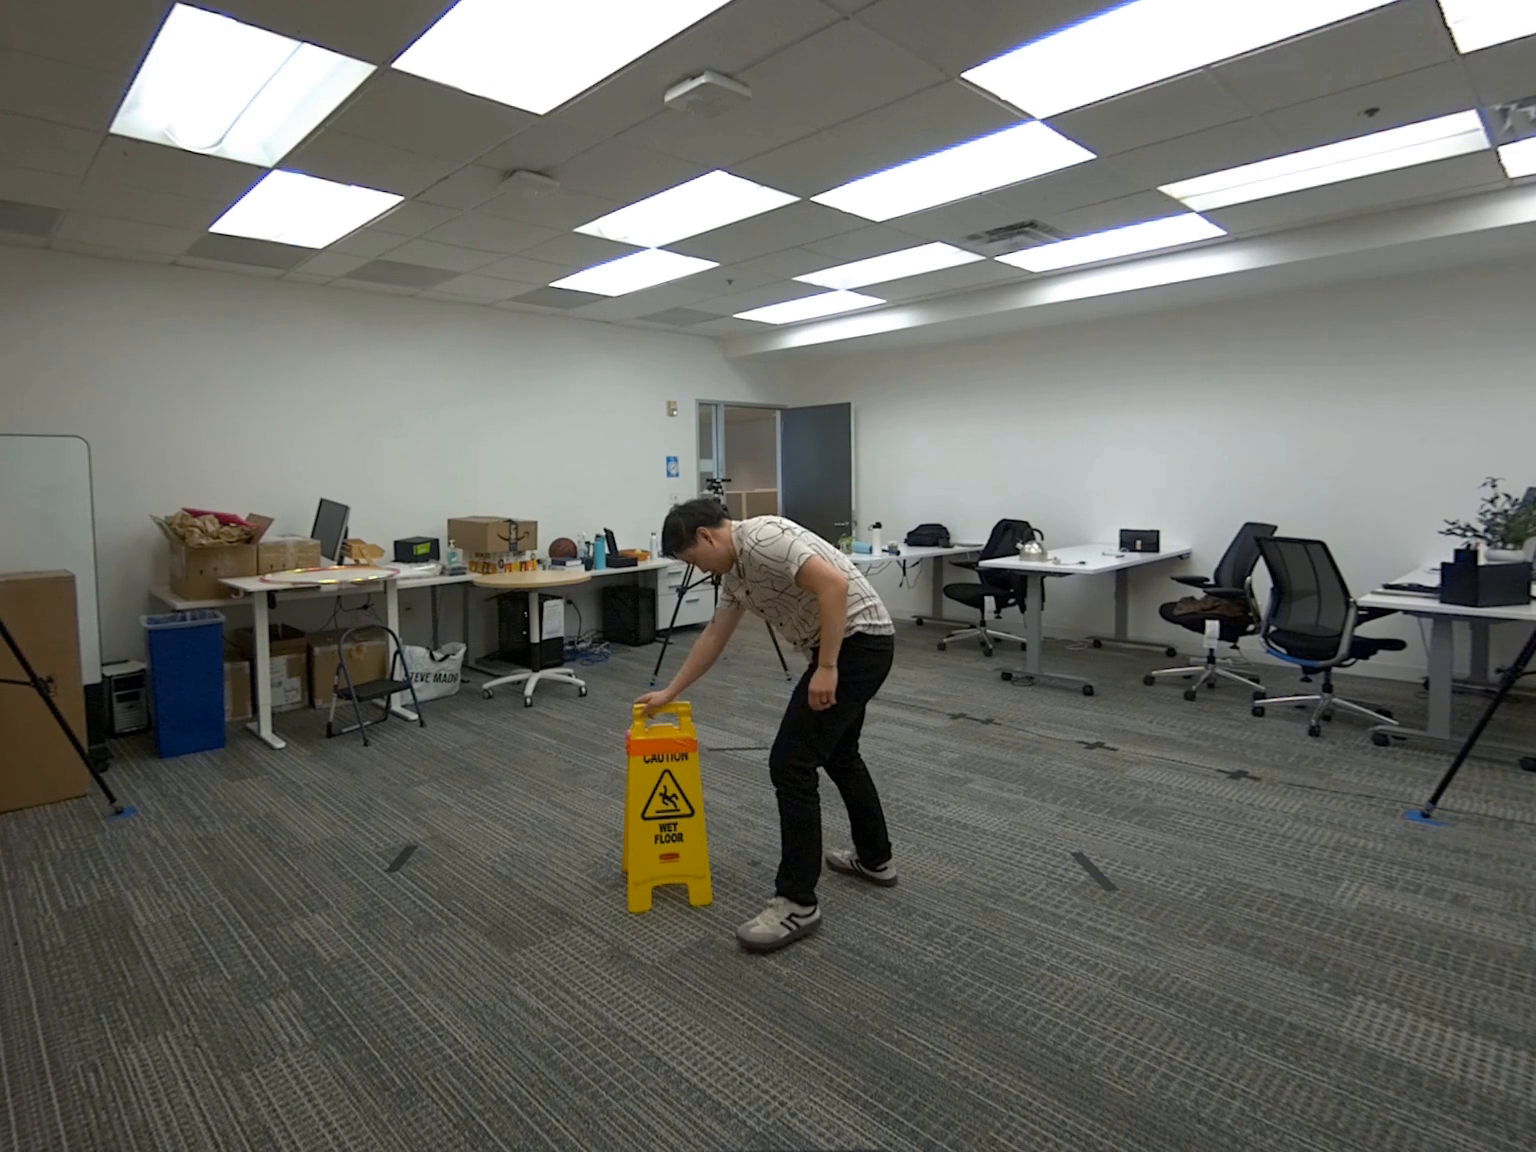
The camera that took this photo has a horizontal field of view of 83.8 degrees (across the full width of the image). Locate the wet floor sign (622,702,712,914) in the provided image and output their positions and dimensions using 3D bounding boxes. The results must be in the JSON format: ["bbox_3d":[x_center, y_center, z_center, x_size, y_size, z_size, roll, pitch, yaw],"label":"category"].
[{"bbox_3d":[-0.355,0.748,2.913,0.279,0.643,0.294,-2,5,-12],"label":"wet floor sign"}]
